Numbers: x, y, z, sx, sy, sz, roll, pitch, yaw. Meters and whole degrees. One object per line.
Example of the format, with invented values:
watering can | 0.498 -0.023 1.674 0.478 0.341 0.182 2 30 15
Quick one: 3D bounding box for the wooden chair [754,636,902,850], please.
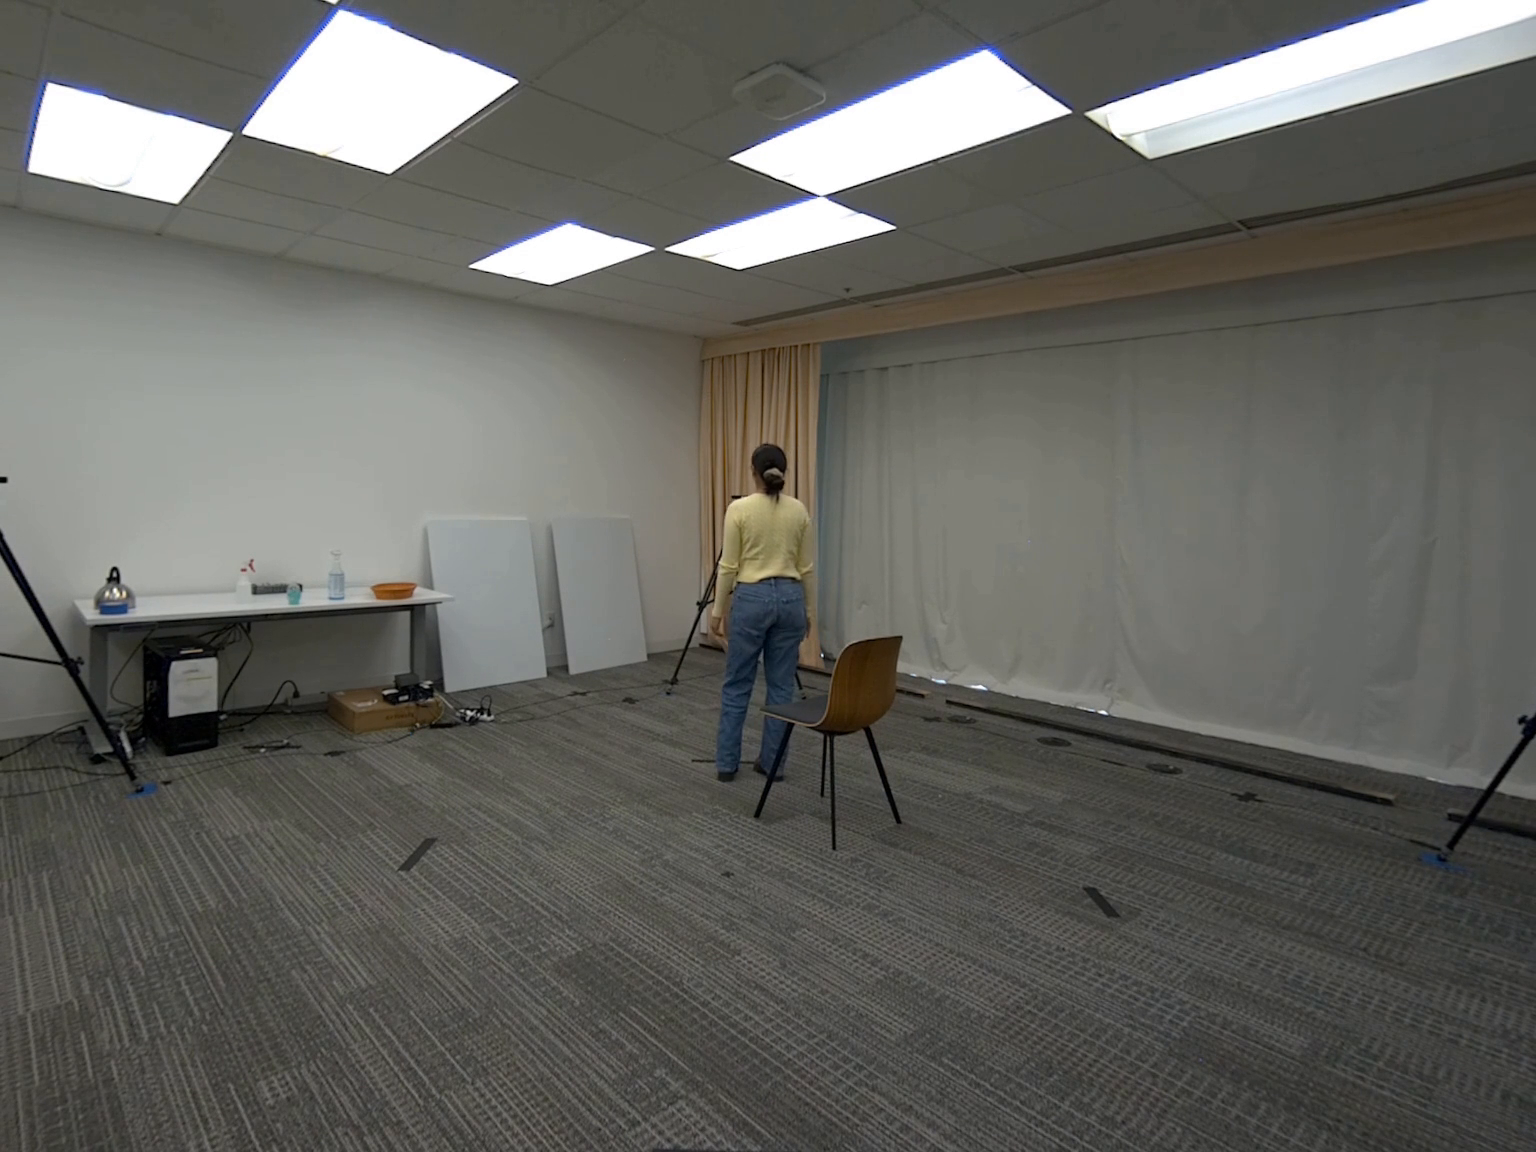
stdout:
wooden chair | 0.259 0.637 3.629 0.467 0.873 0.537 -2 9 -45
